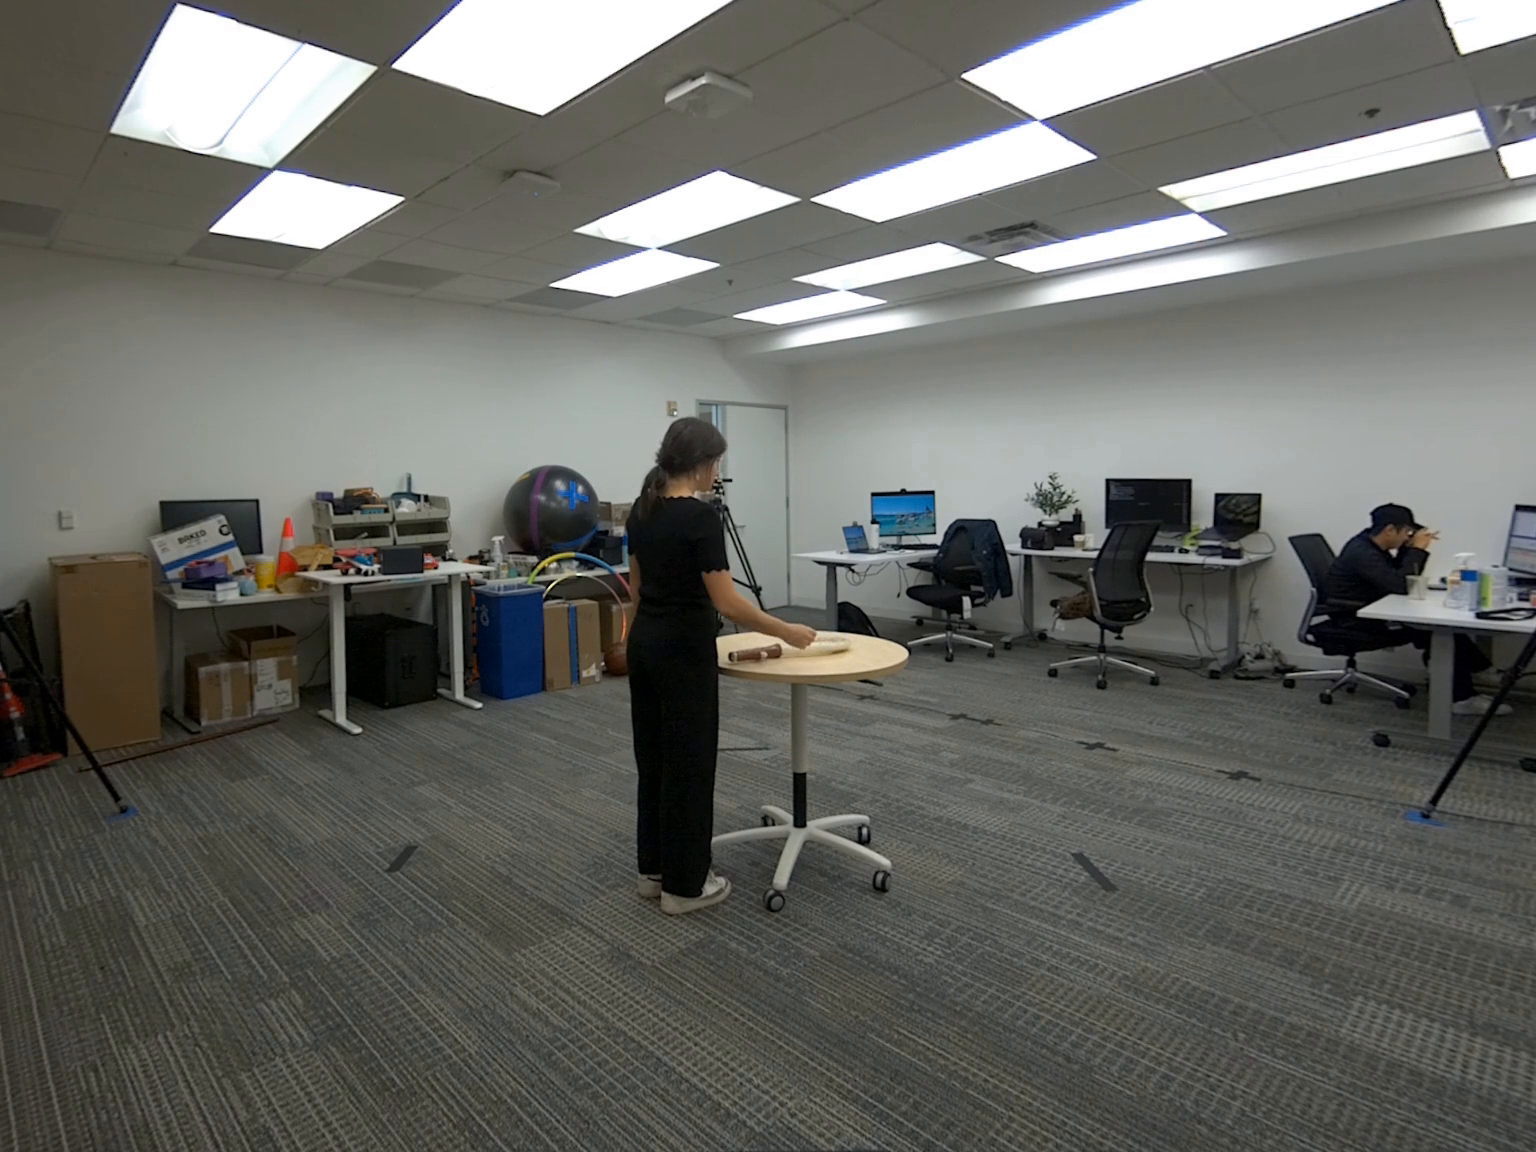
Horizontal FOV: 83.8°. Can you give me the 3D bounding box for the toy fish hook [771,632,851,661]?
[{"bbox_3d":[0.065,0.259,2.995,0.494,0.048,0.230,-3,0,-30],"label":"toy fish hook"}]
